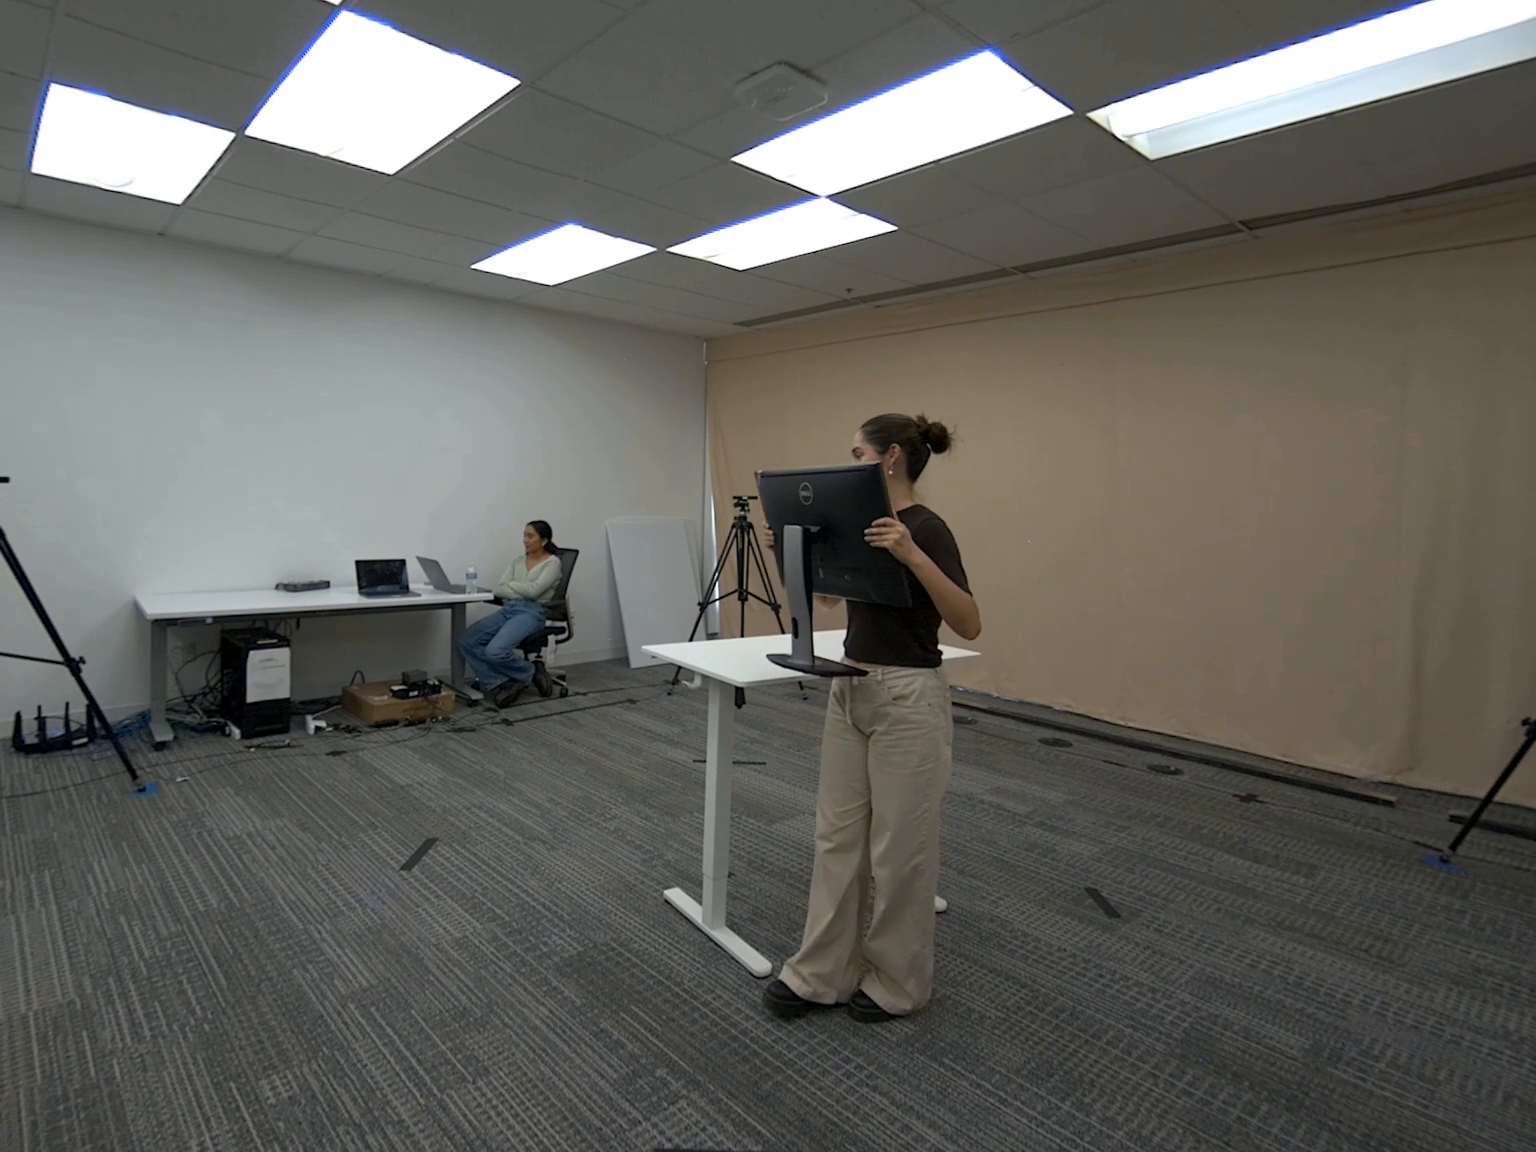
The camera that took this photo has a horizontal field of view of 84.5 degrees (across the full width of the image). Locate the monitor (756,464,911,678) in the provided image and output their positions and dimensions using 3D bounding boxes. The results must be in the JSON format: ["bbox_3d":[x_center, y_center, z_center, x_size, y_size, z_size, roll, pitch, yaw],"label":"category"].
[{"bbox_3d":[0.119,-0.018,2.169,0.183,0.521,0.552,-3,4,-34],"label":"monitor"}]
